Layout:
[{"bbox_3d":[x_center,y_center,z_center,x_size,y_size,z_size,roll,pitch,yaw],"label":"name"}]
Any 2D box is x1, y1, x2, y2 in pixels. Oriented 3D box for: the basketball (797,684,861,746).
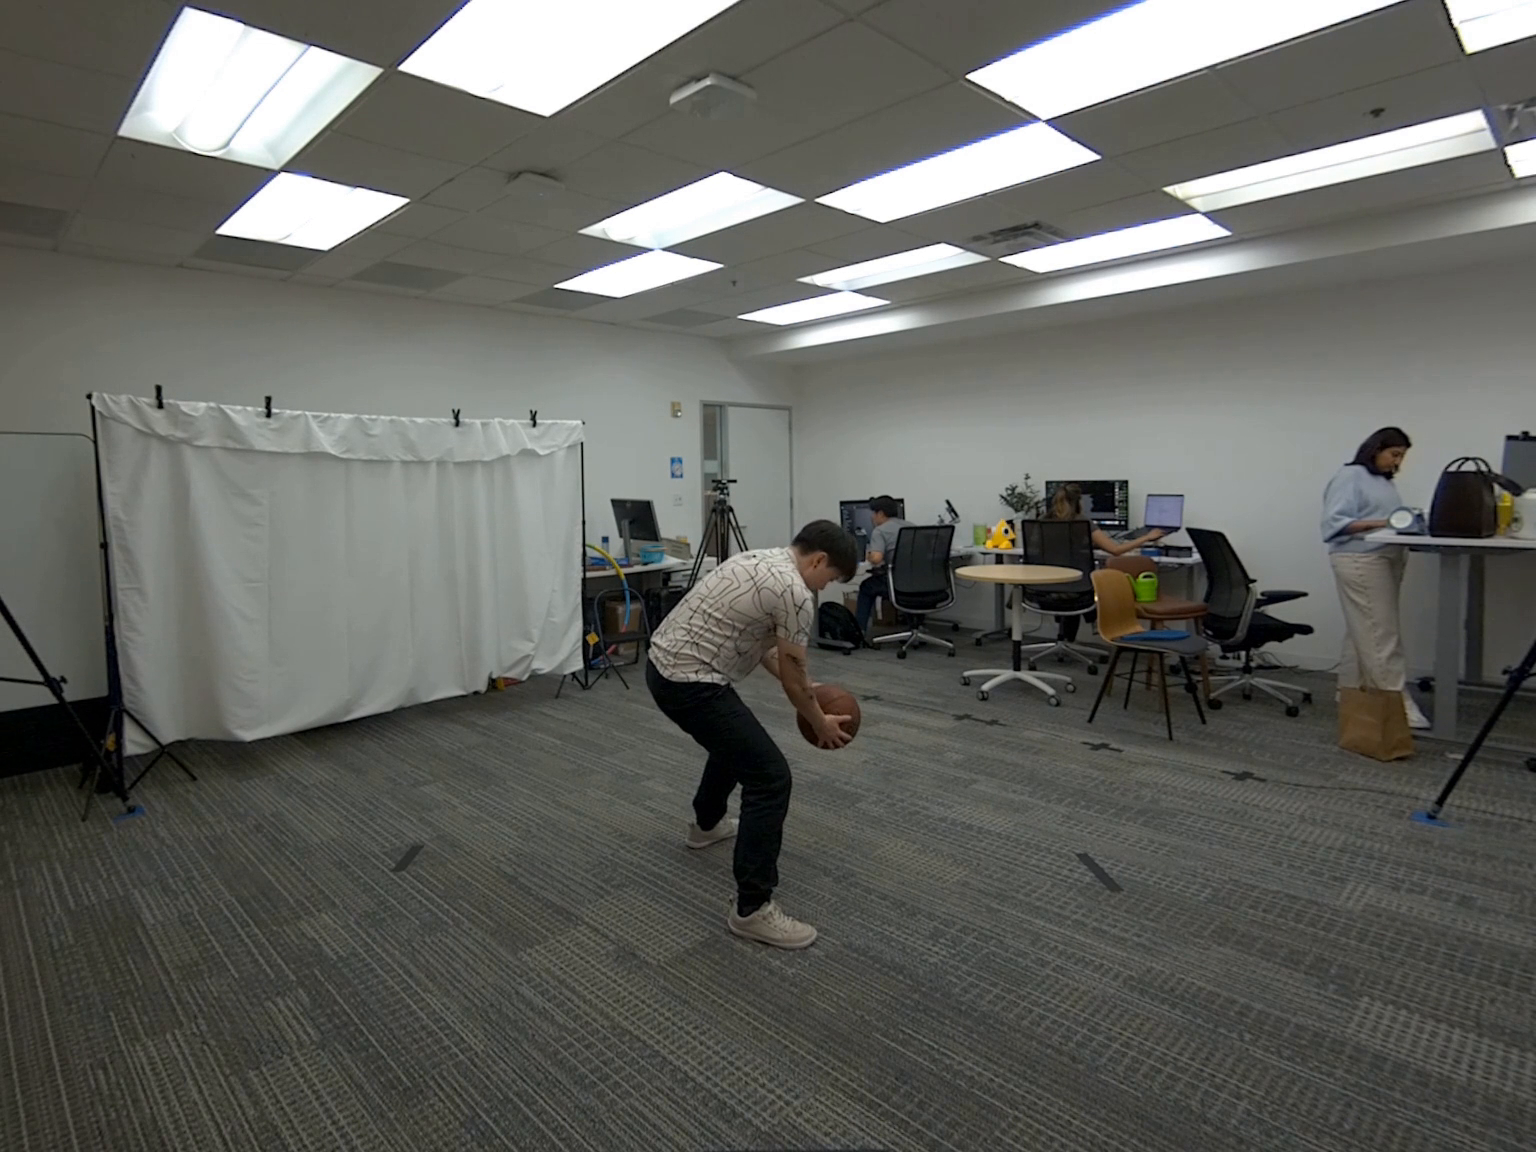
[{"bbox_3d":[0.226,0.514,3.170,0.236,0.235,0.237,-1,5,-2],"label":"basketball"}]
